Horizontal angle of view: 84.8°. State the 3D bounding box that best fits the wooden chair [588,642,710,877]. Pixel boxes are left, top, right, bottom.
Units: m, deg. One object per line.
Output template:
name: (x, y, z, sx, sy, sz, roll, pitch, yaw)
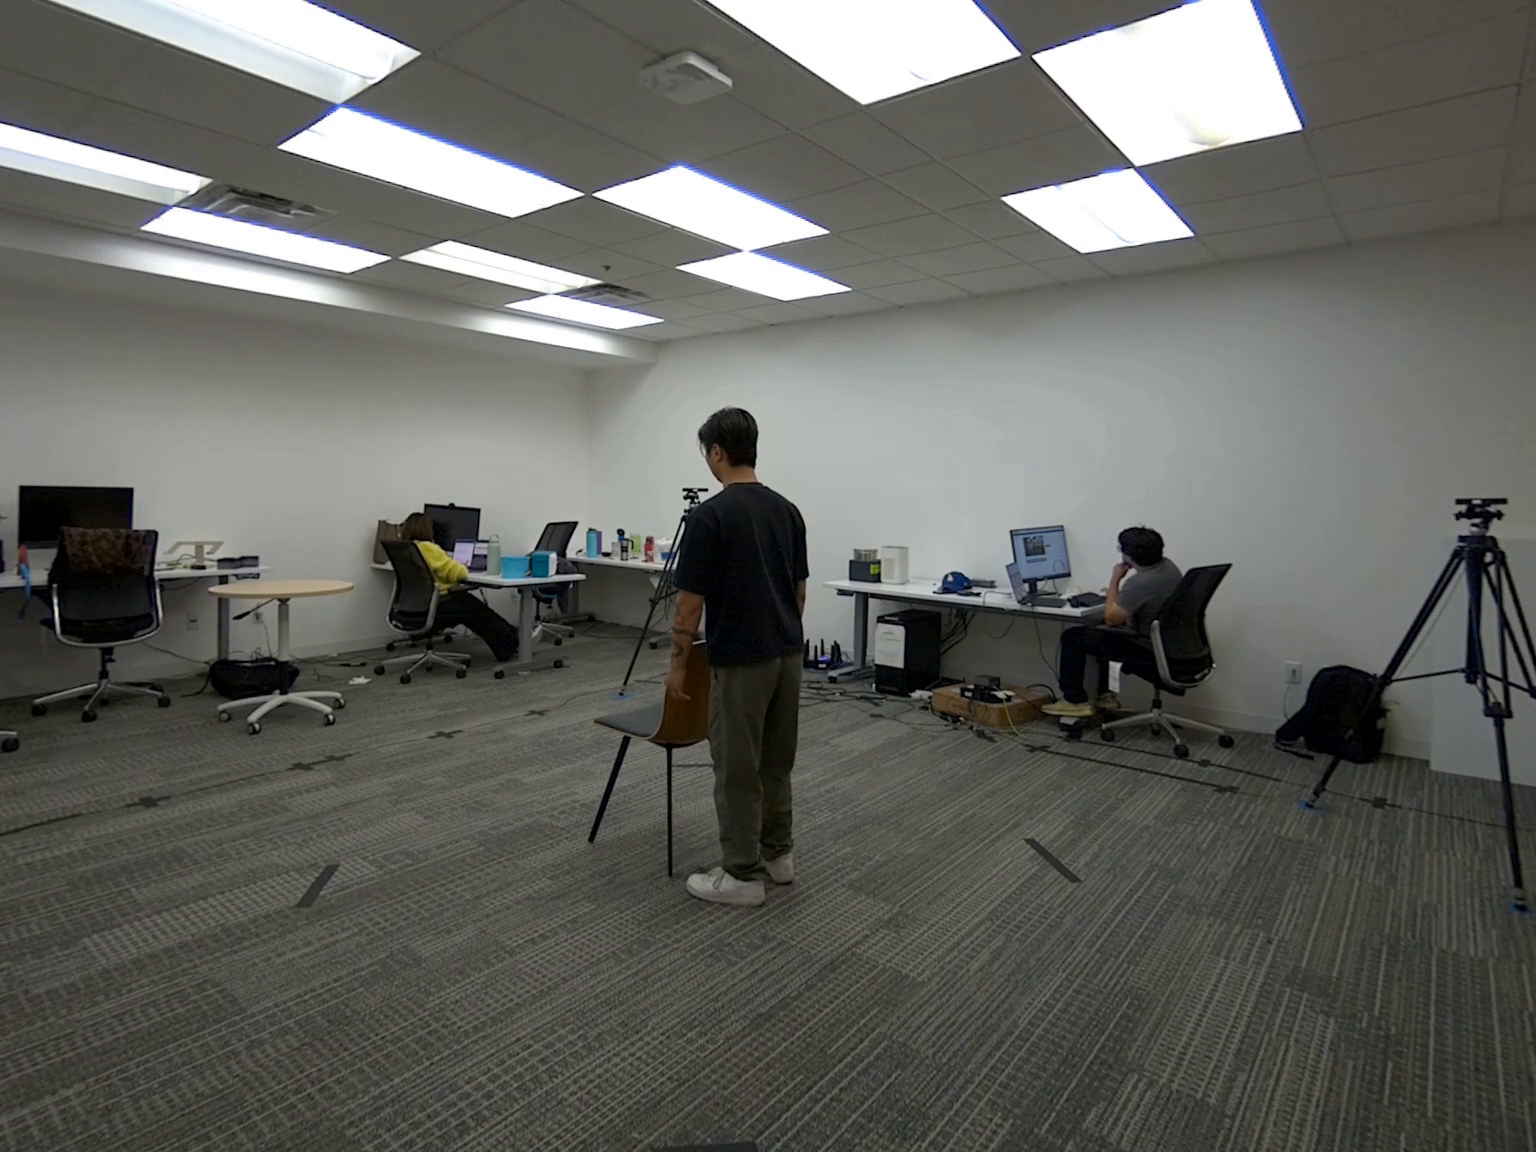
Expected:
wooden chair: (-0.400, 0.618, 3.326, 0.542, 0.872, 0.464, 10, 8, 40)
